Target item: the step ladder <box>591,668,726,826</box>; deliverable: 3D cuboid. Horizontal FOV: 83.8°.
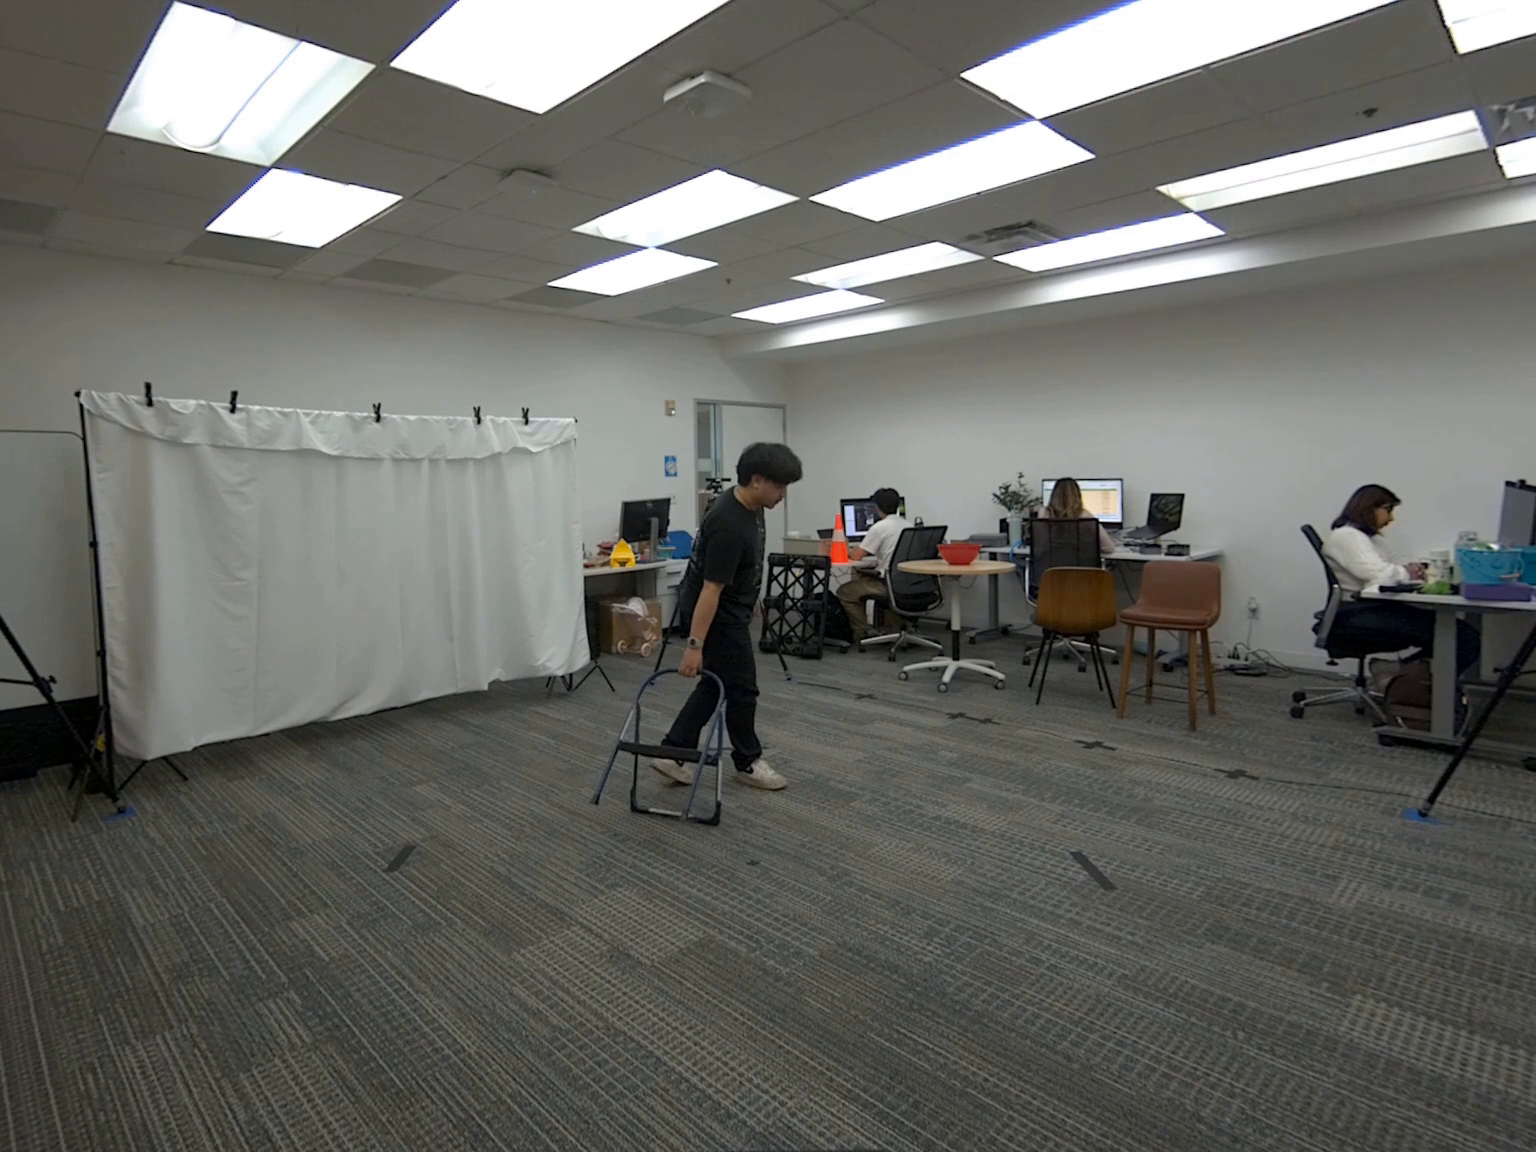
[{"bbox_3d":[-0.404,0.669,3.484,0.440,0.614,0.337,1,-20,24],"label":"step ladder"}]
